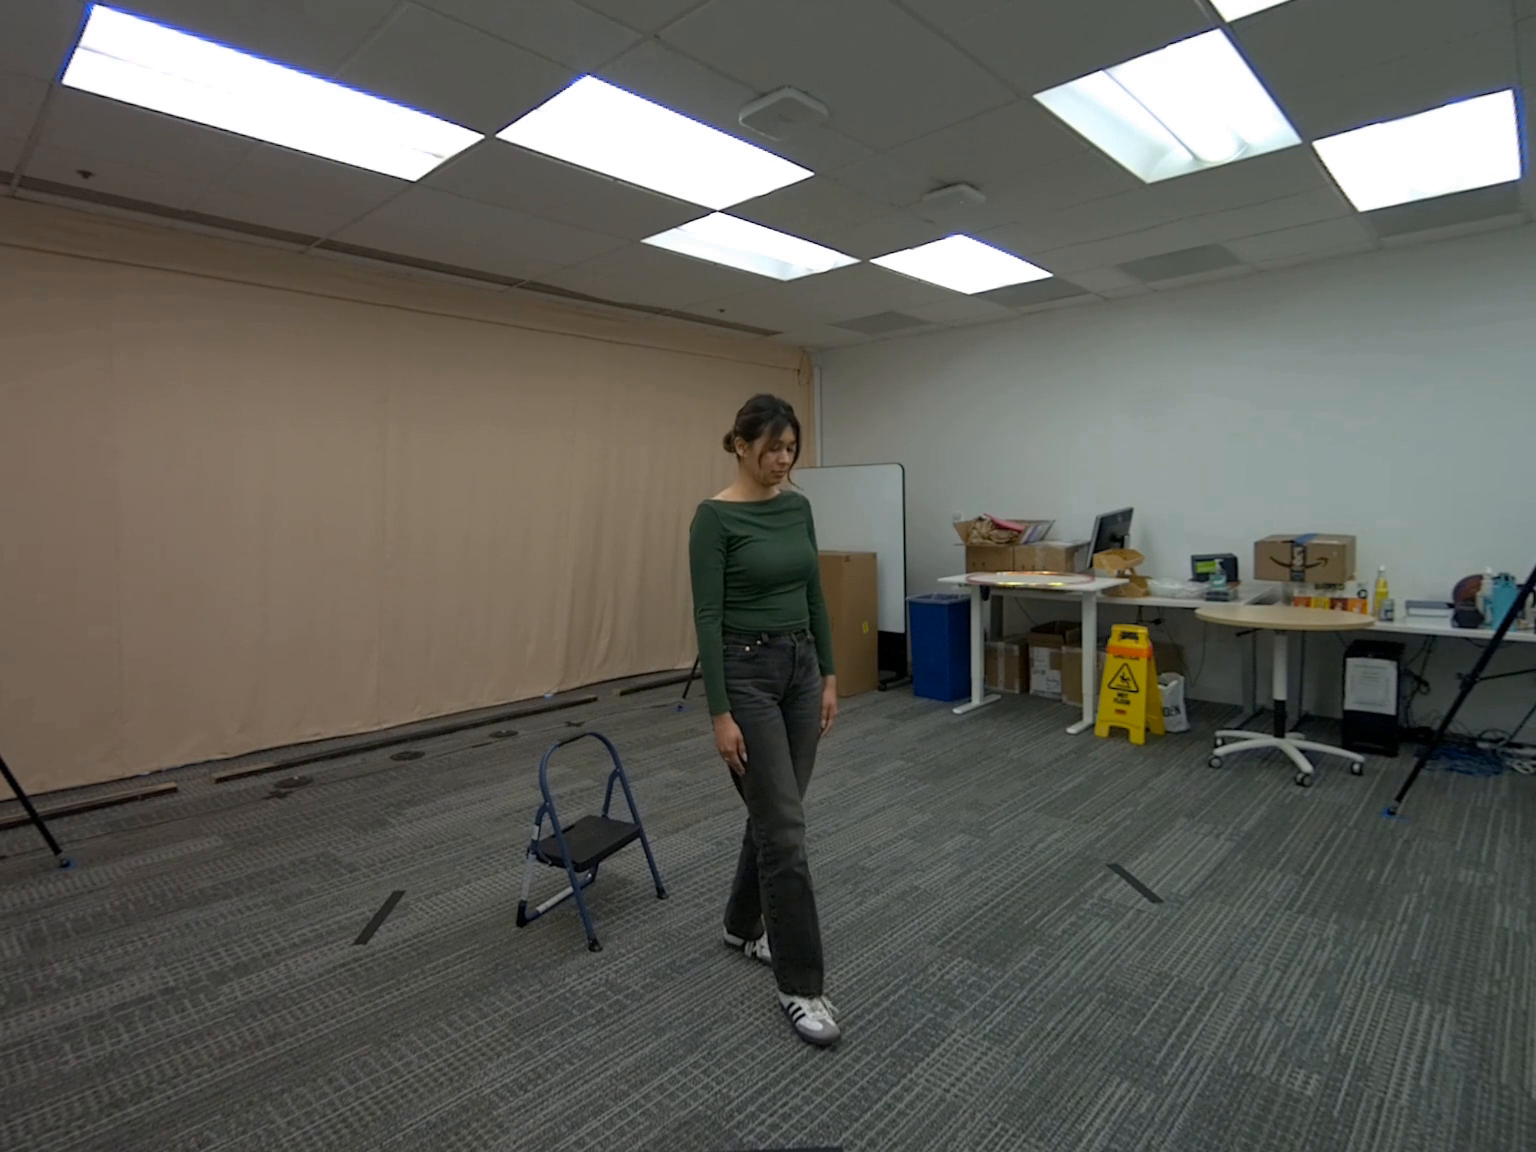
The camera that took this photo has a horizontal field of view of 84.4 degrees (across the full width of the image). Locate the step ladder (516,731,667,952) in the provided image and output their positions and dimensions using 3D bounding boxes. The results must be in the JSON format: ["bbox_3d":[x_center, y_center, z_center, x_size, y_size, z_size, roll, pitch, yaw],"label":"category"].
[{"bbox_3d":[-0.604,0.857,2.894,0.359,0.605,0.420,1,3,27],"label":"step ladder"}]
